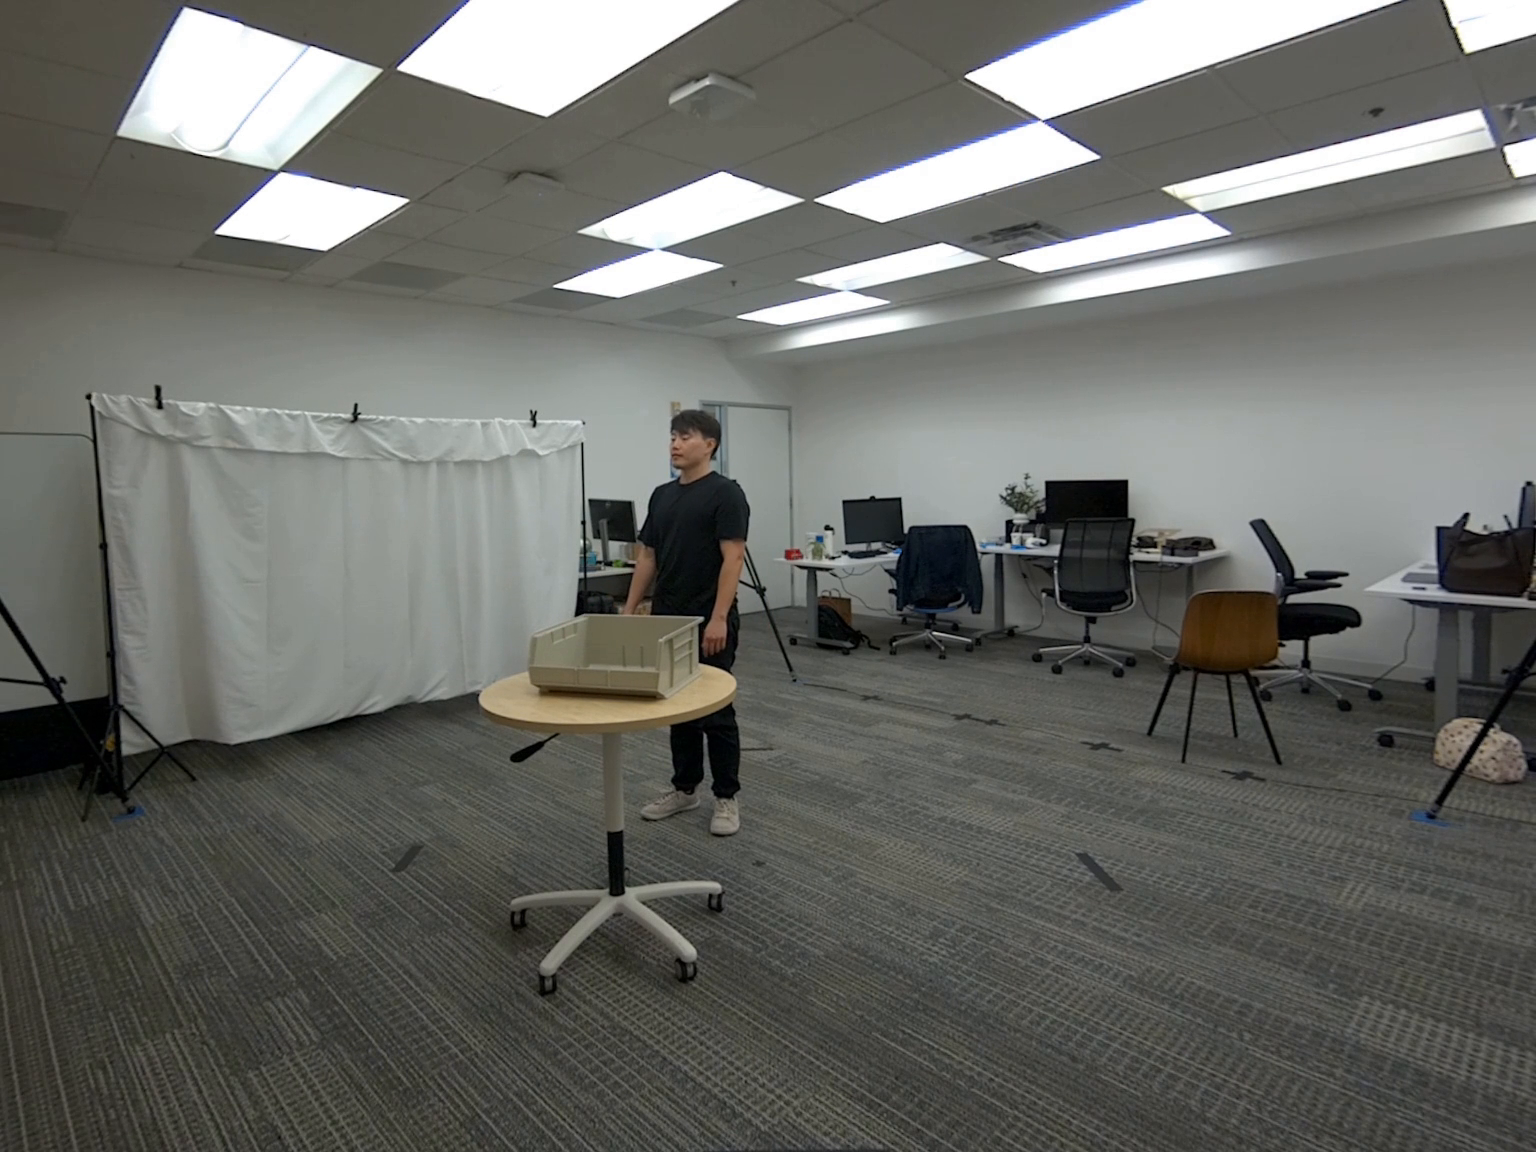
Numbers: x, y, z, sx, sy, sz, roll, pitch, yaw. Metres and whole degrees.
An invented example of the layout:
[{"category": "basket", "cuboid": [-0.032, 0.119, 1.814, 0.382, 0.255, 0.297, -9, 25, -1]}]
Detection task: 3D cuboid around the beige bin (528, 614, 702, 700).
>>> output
[{"category": "beige bin", "cuboid": [-0.456, 0.246, 2.600, 0.429, 0.188, 0.373, 0, 6, 16]}]
